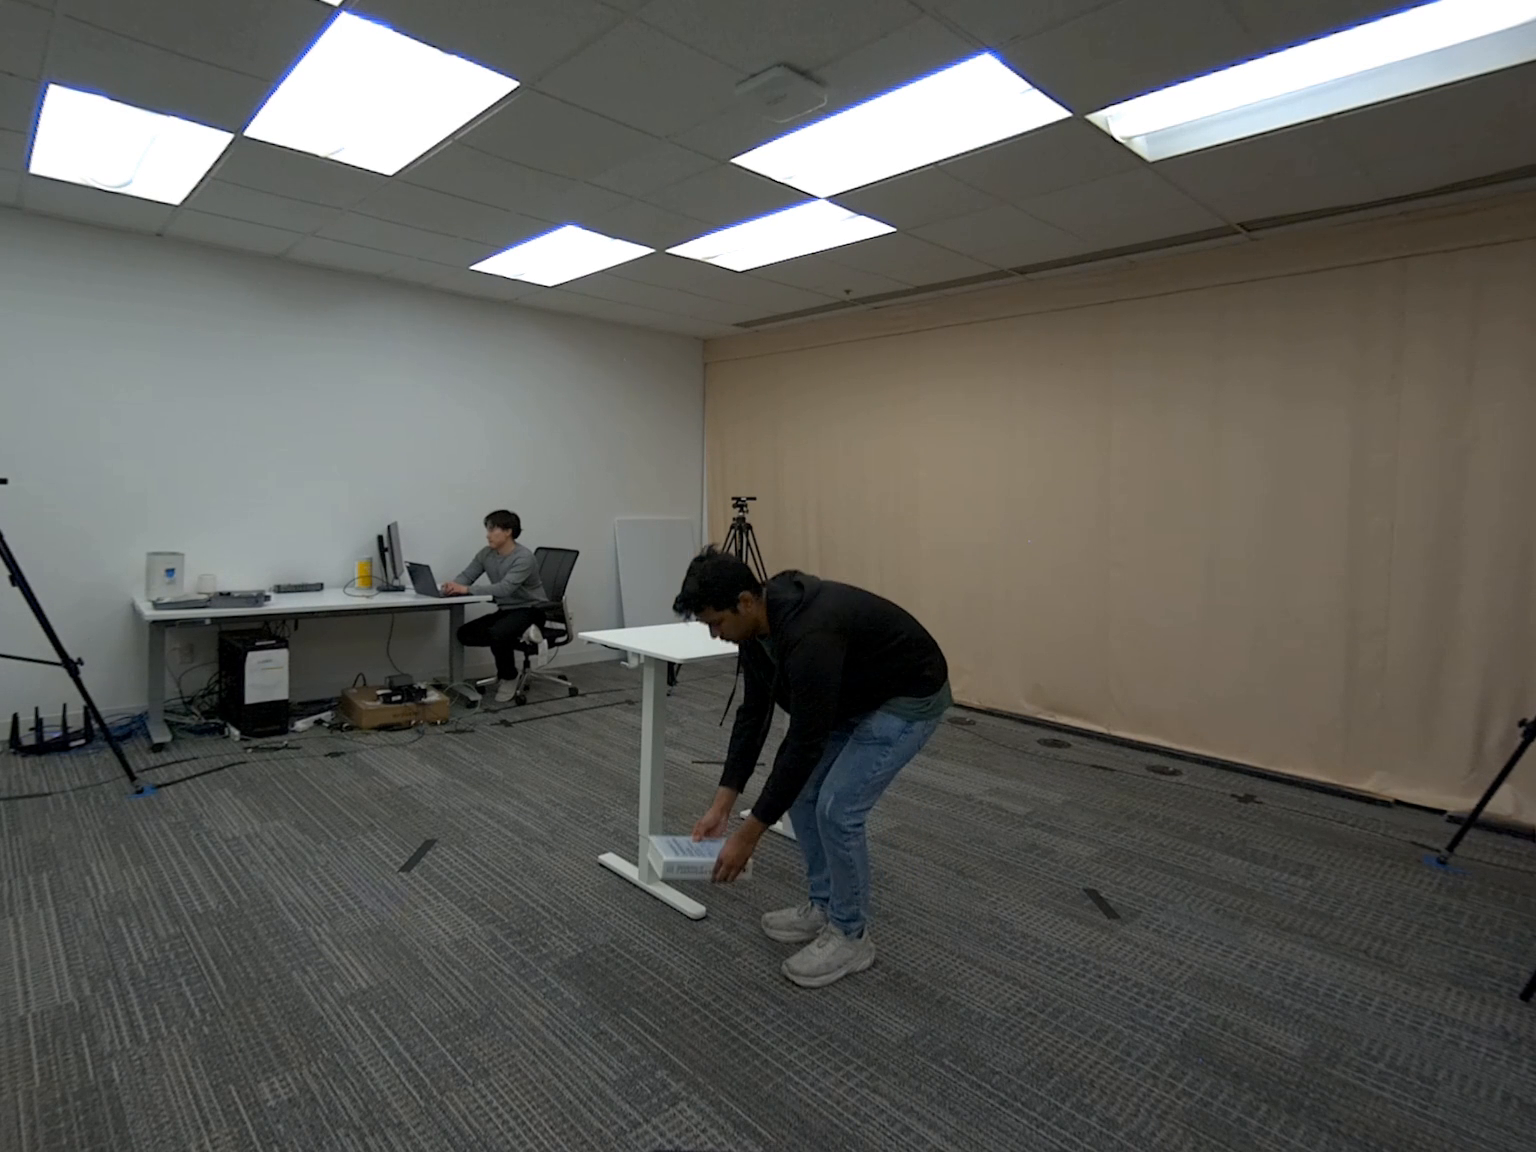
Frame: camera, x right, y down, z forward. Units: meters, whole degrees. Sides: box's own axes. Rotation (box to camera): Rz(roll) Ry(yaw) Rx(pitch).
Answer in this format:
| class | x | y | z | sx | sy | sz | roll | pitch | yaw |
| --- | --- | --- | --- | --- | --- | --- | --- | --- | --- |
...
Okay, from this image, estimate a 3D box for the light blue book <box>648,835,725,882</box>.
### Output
| class | x | y | z | sx | sy | sz | roll | pitch | yaw |
| --- | --- | --- | --- | --- | --- | --- | --- | --- | --- |
| light blue book | -0.199 | 0.795 | 2.399 | 0.257 | 0.059 | 0.194 | 7 | 0 | -18 |
